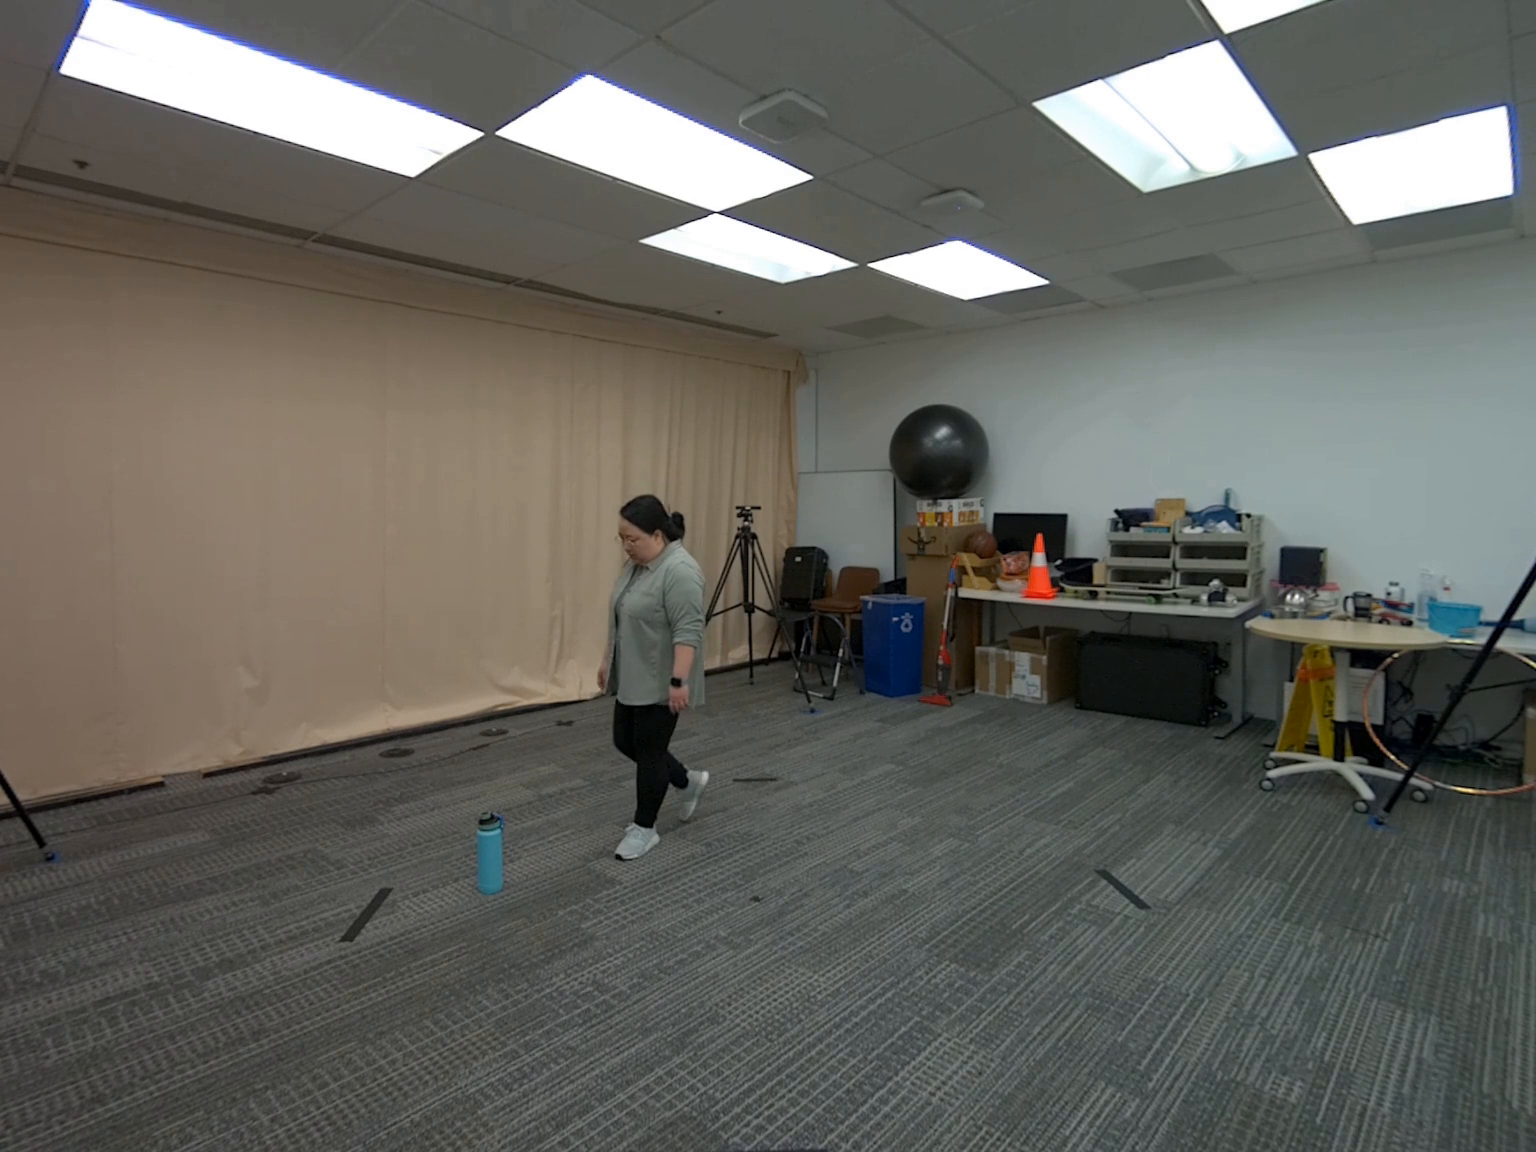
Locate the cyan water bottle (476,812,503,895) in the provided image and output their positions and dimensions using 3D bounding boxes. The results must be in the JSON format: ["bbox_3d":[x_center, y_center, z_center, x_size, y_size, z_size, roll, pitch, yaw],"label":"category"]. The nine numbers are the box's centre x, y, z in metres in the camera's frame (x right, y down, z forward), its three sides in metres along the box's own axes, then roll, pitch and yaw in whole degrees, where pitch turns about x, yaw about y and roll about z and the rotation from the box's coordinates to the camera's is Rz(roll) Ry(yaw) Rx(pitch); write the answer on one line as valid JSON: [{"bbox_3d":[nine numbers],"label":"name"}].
[{"bbox_3d":[-1.023,1.006,3.078,0.092,0.283,0.092,0,1,-2],"label":"cyan water bottle"}]
